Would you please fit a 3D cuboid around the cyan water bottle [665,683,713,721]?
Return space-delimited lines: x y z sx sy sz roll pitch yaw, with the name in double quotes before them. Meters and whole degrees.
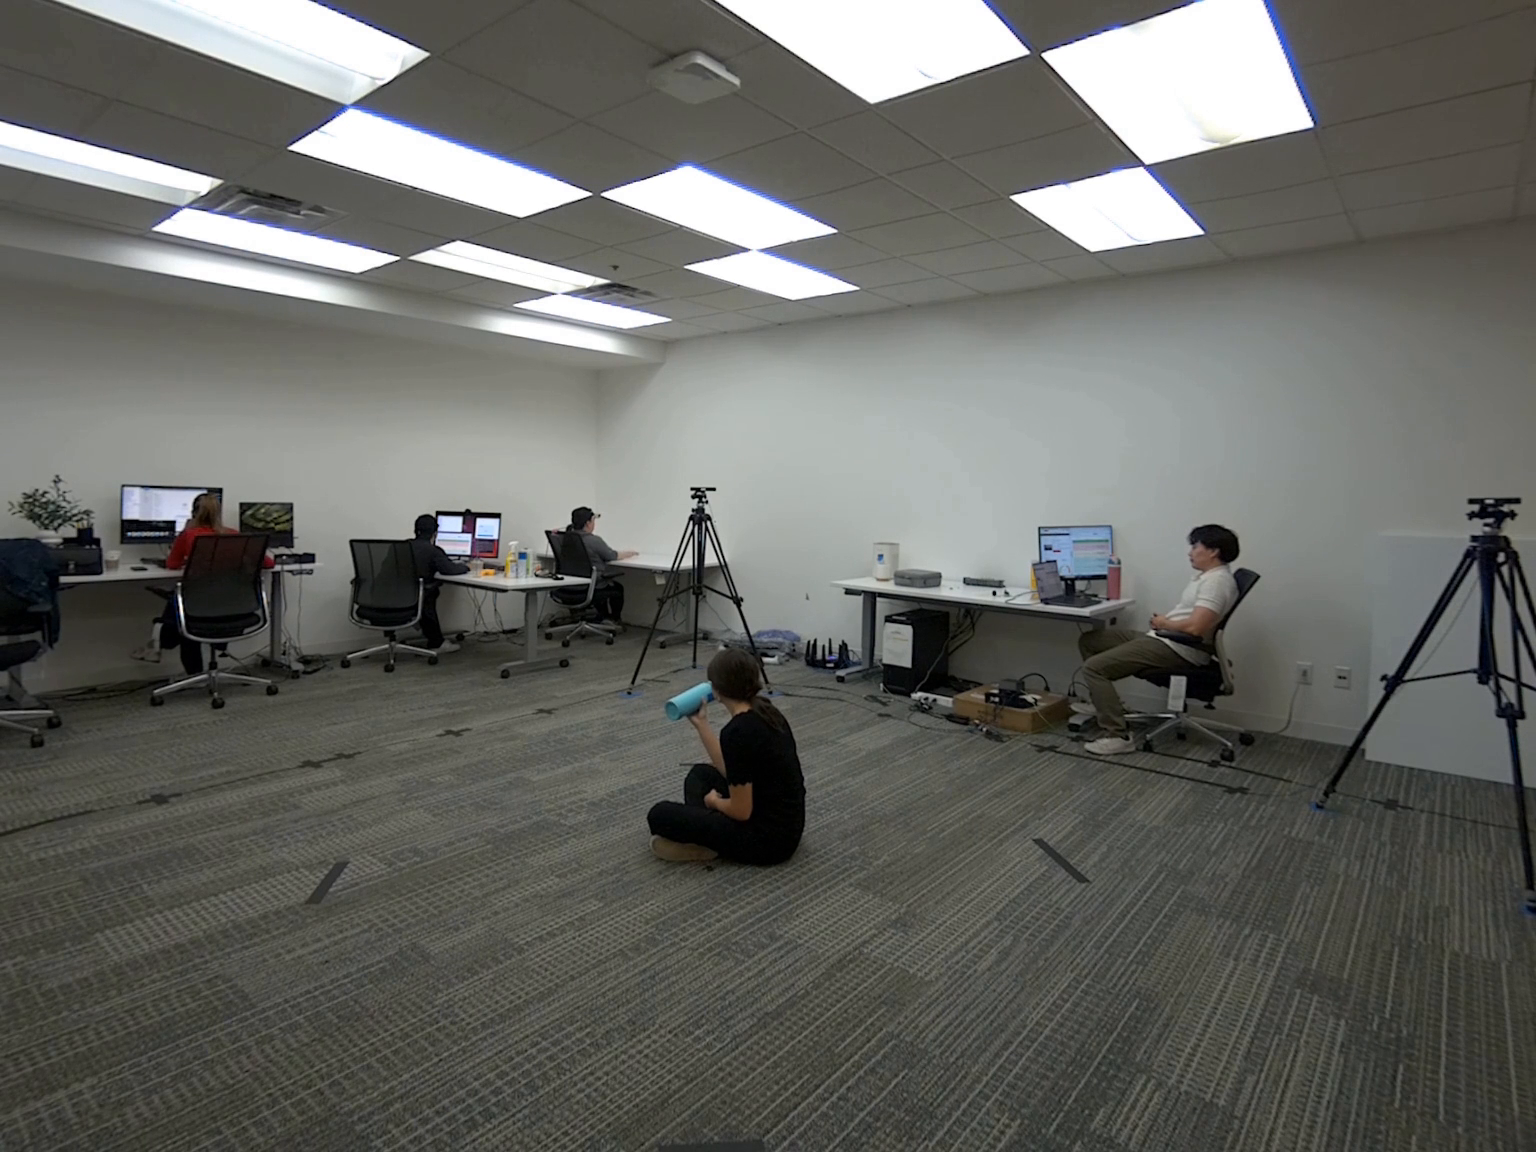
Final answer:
"cyan water bottle" -0.323 0.520 3.627 0.095 0.091 0.278 4 17 40
